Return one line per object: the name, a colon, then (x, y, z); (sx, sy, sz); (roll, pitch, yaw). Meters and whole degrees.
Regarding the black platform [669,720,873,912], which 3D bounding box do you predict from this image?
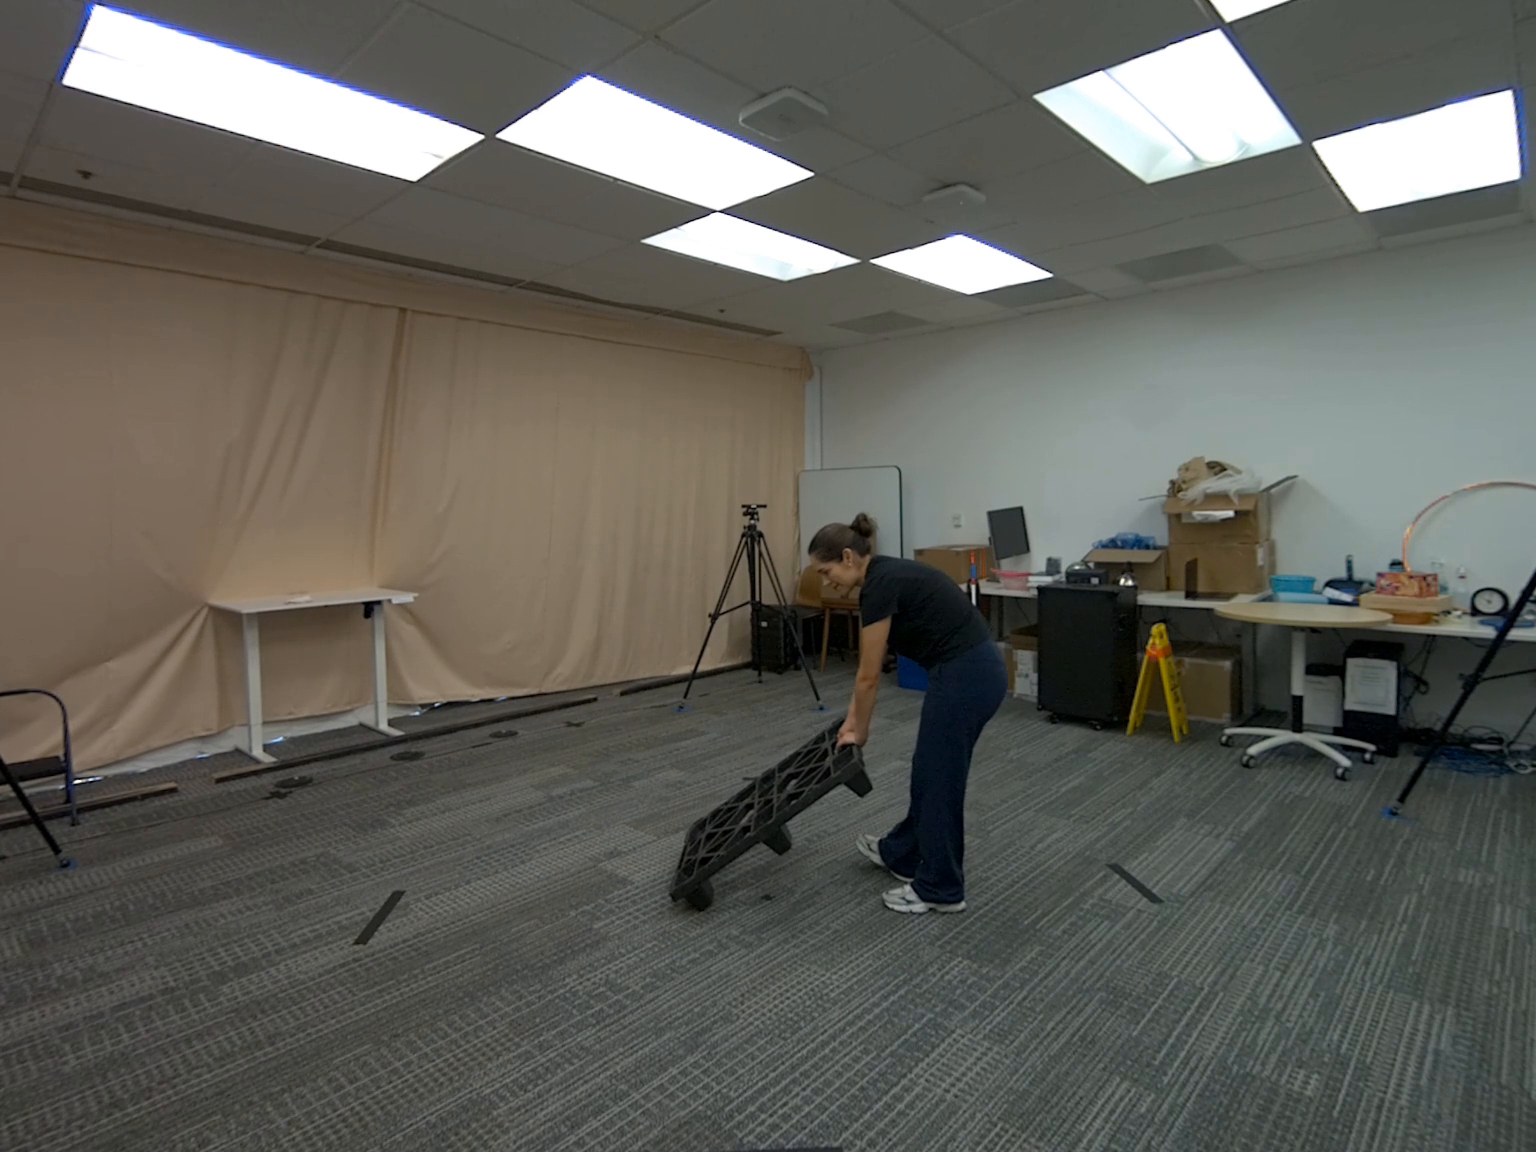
black platform: (0.048, 0.854, 3.083); (0.807, 0.143, 0.605); (-37, 4, 5)
